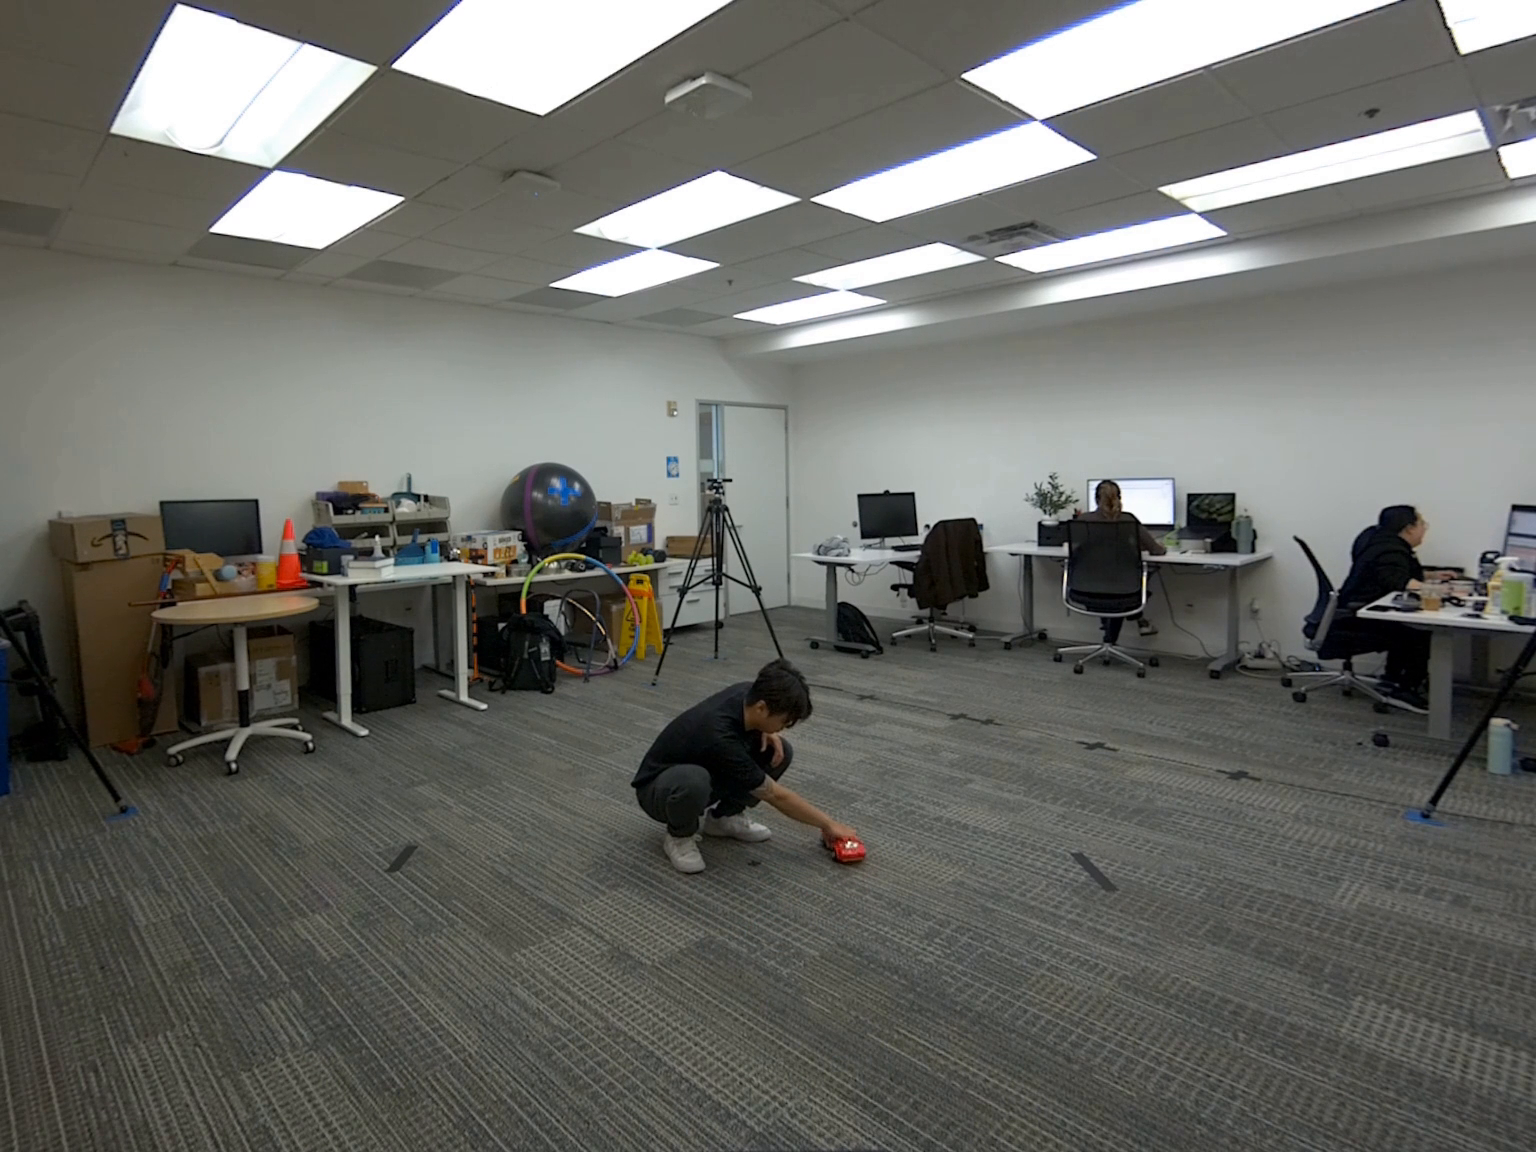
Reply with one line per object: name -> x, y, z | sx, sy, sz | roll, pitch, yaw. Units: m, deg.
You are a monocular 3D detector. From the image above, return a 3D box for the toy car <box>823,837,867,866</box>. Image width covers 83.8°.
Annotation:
toy car -> 0.276, 0.997, 3.170 | 0.129, 0.084, 0.256 | -1, -4, -13
